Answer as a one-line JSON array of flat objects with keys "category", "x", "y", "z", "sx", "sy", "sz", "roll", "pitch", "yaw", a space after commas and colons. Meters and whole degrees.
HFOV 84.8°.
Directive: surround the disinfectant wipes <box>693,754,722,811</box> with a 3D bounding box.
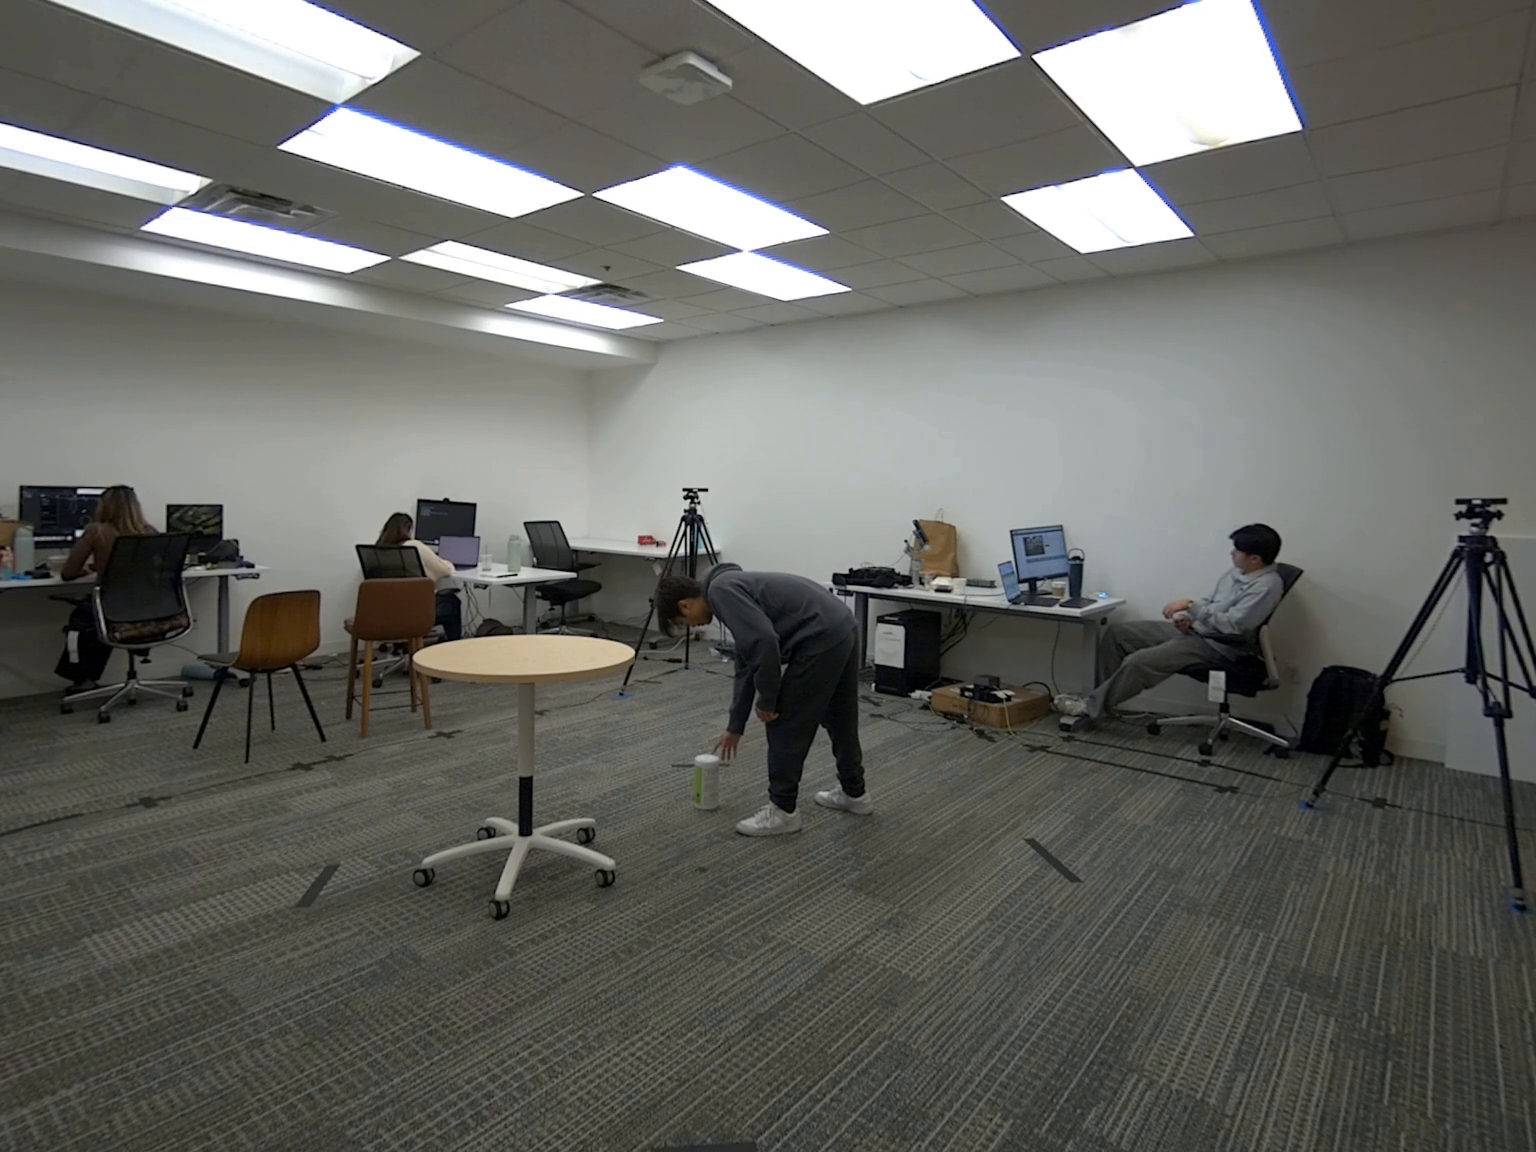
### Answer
[{"category": "disinfectant wipes", "x": -0.277, "y": 0.905, "z": 3.742, "sx": 0.118, "sy": 0.217, "sz": 0.118, "roll": 0, "pitch": 2, "yaw": -2}]
